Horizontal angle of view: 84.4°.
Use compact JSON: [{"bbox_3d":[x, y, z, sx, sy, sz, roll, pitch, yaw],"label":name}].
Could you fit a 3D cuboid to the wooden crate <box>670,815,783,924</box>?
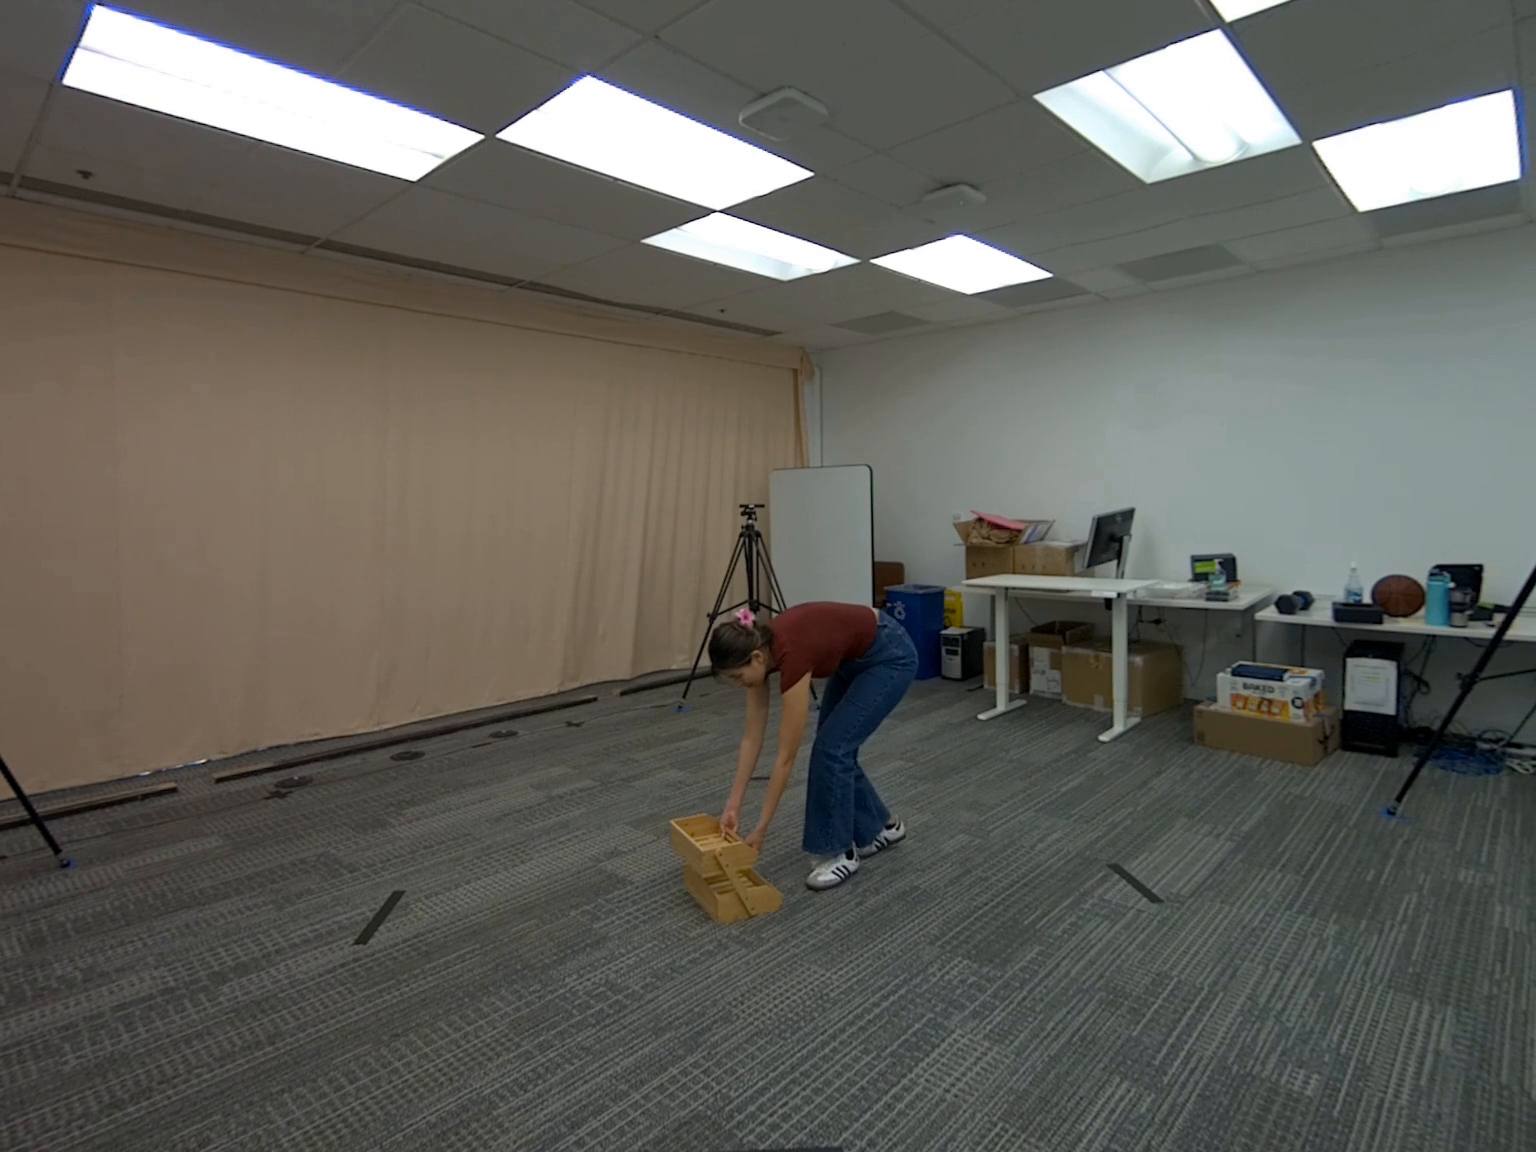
[{"bbox_3d":[-0.146,1.009,2.963,0.295,0.272,0.333,-3,5,-26],"label":"wooden crate"}]
